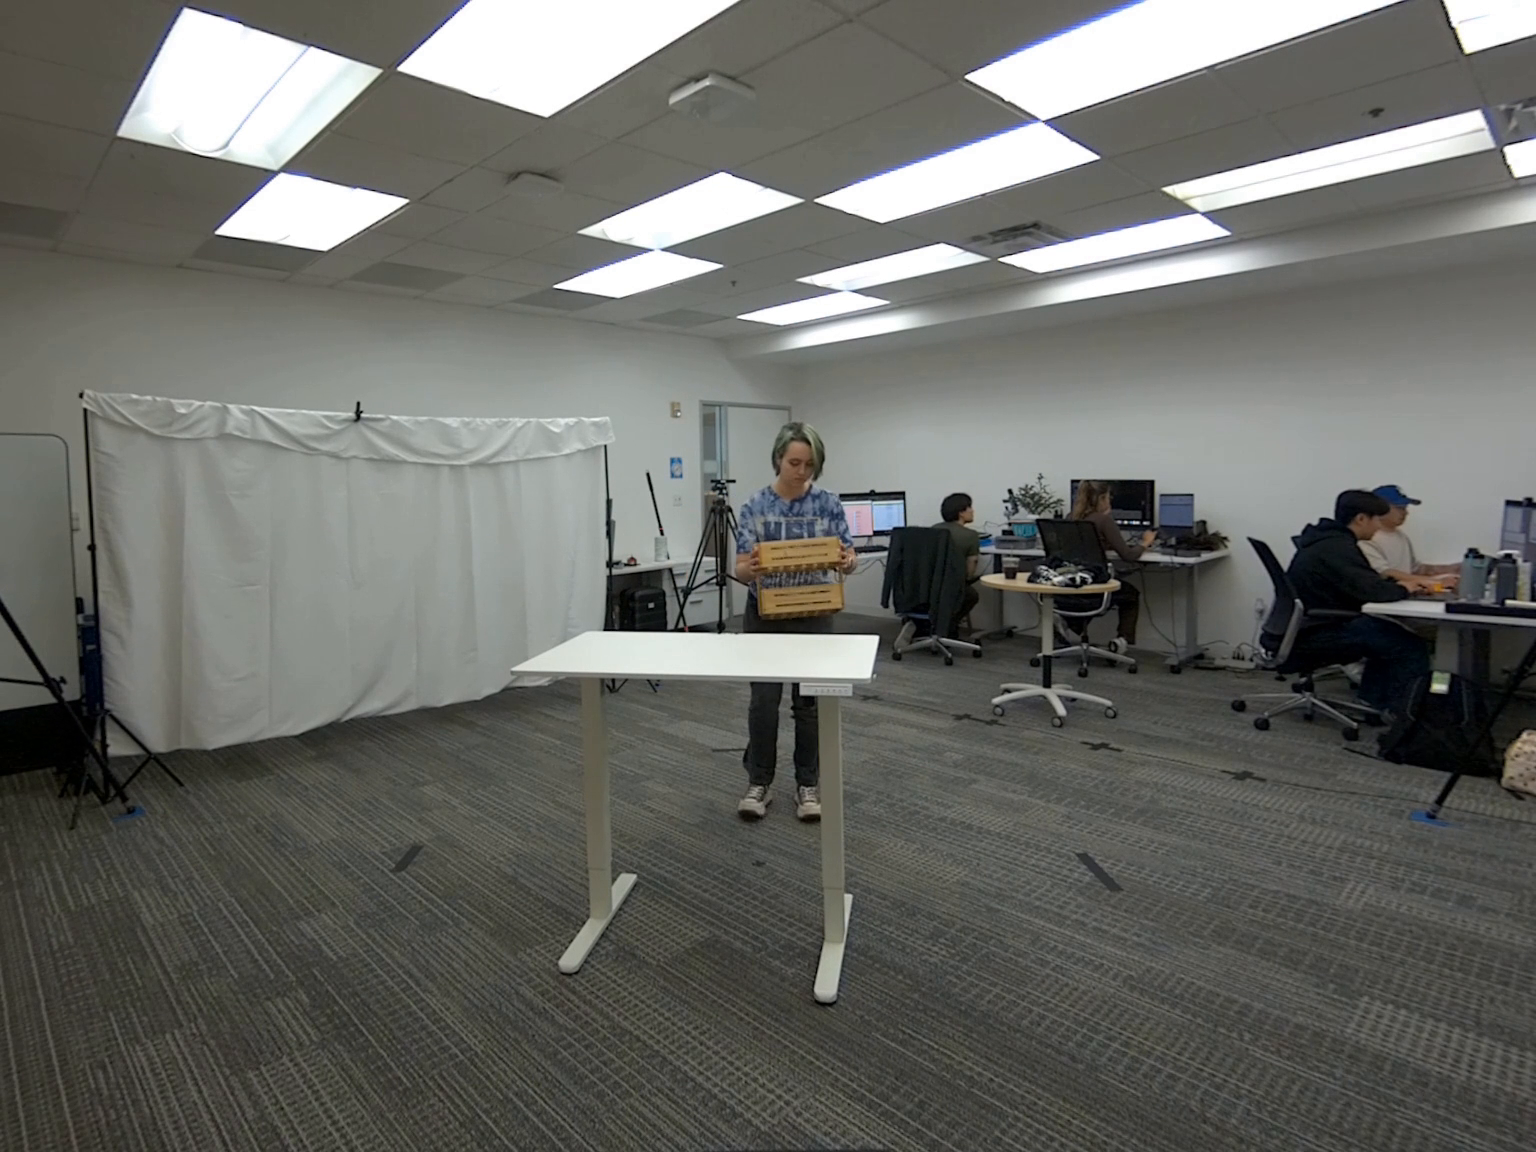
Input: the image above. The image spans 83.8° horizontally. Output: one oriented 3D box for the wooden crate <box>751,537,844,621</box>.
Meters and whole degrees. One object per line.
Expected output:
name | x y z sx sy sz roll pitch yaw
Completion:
wooden crate | 0.115 0.014 3.270 0.325 0.275 0.299 -6 -7 1
